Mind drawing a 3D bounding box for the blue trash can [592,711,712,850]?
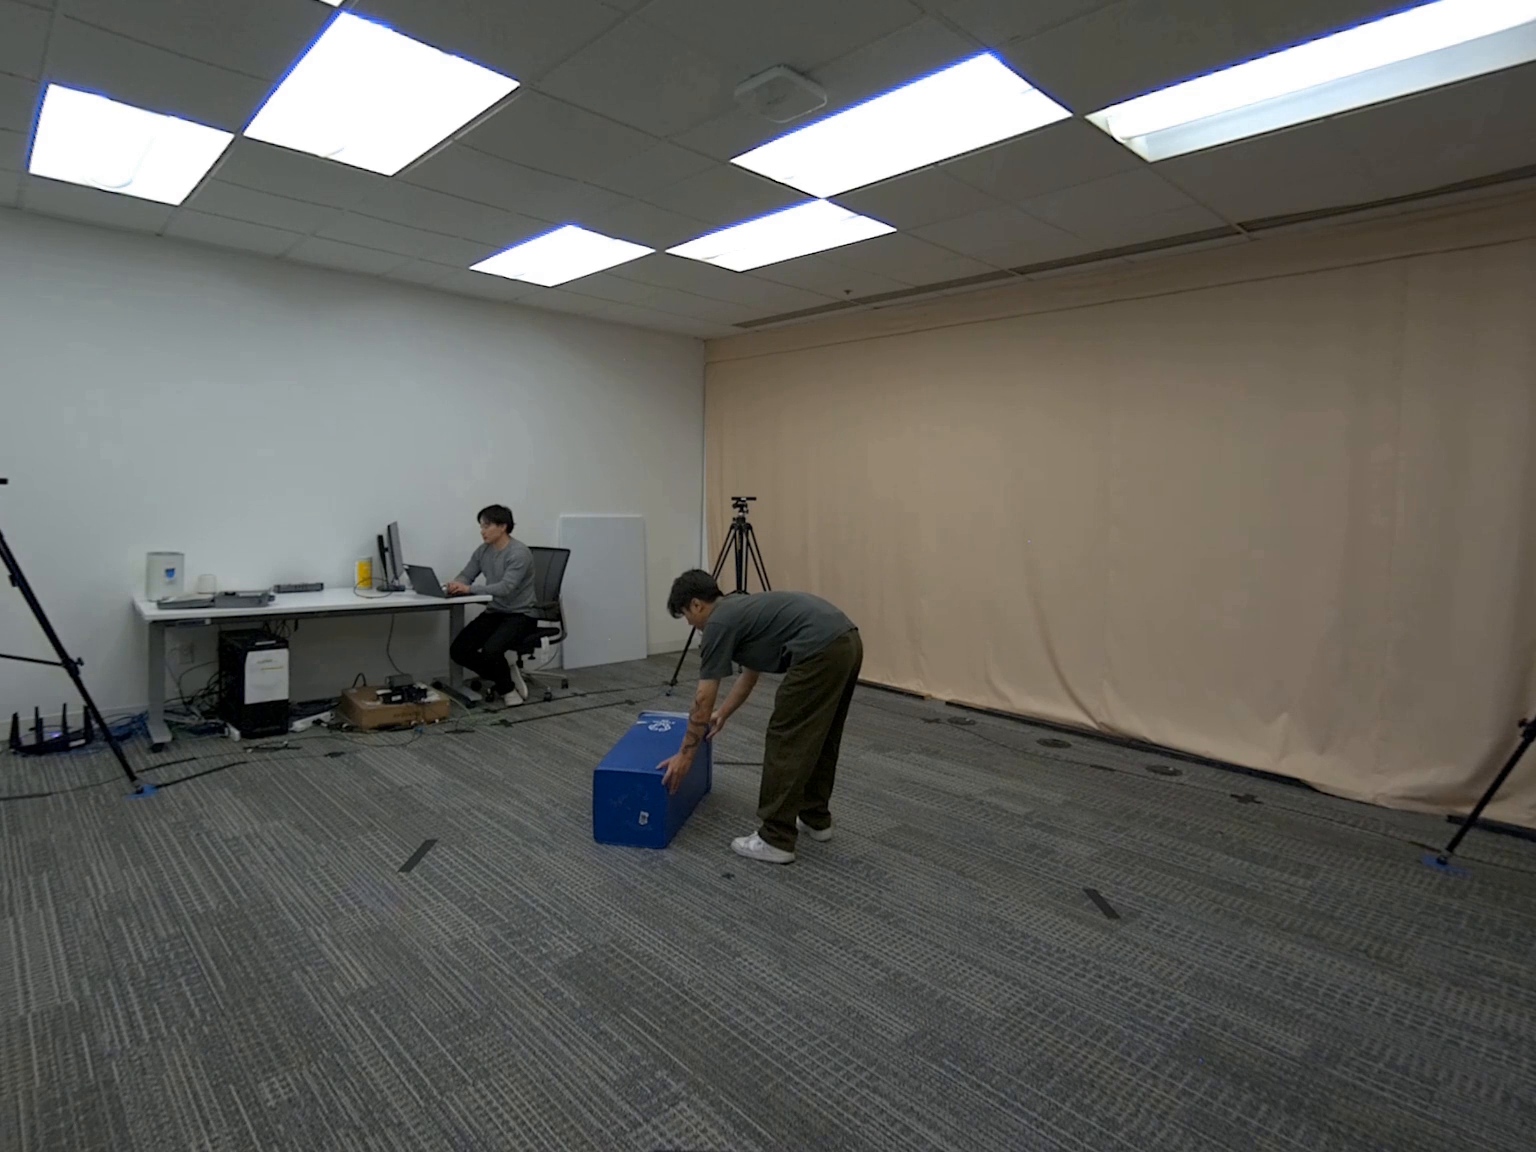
[{"bbox_3d":[-0.504,0.879,3.686,0.381,0.372,0.710,1,6,9],"label":"blue trash can"}]
